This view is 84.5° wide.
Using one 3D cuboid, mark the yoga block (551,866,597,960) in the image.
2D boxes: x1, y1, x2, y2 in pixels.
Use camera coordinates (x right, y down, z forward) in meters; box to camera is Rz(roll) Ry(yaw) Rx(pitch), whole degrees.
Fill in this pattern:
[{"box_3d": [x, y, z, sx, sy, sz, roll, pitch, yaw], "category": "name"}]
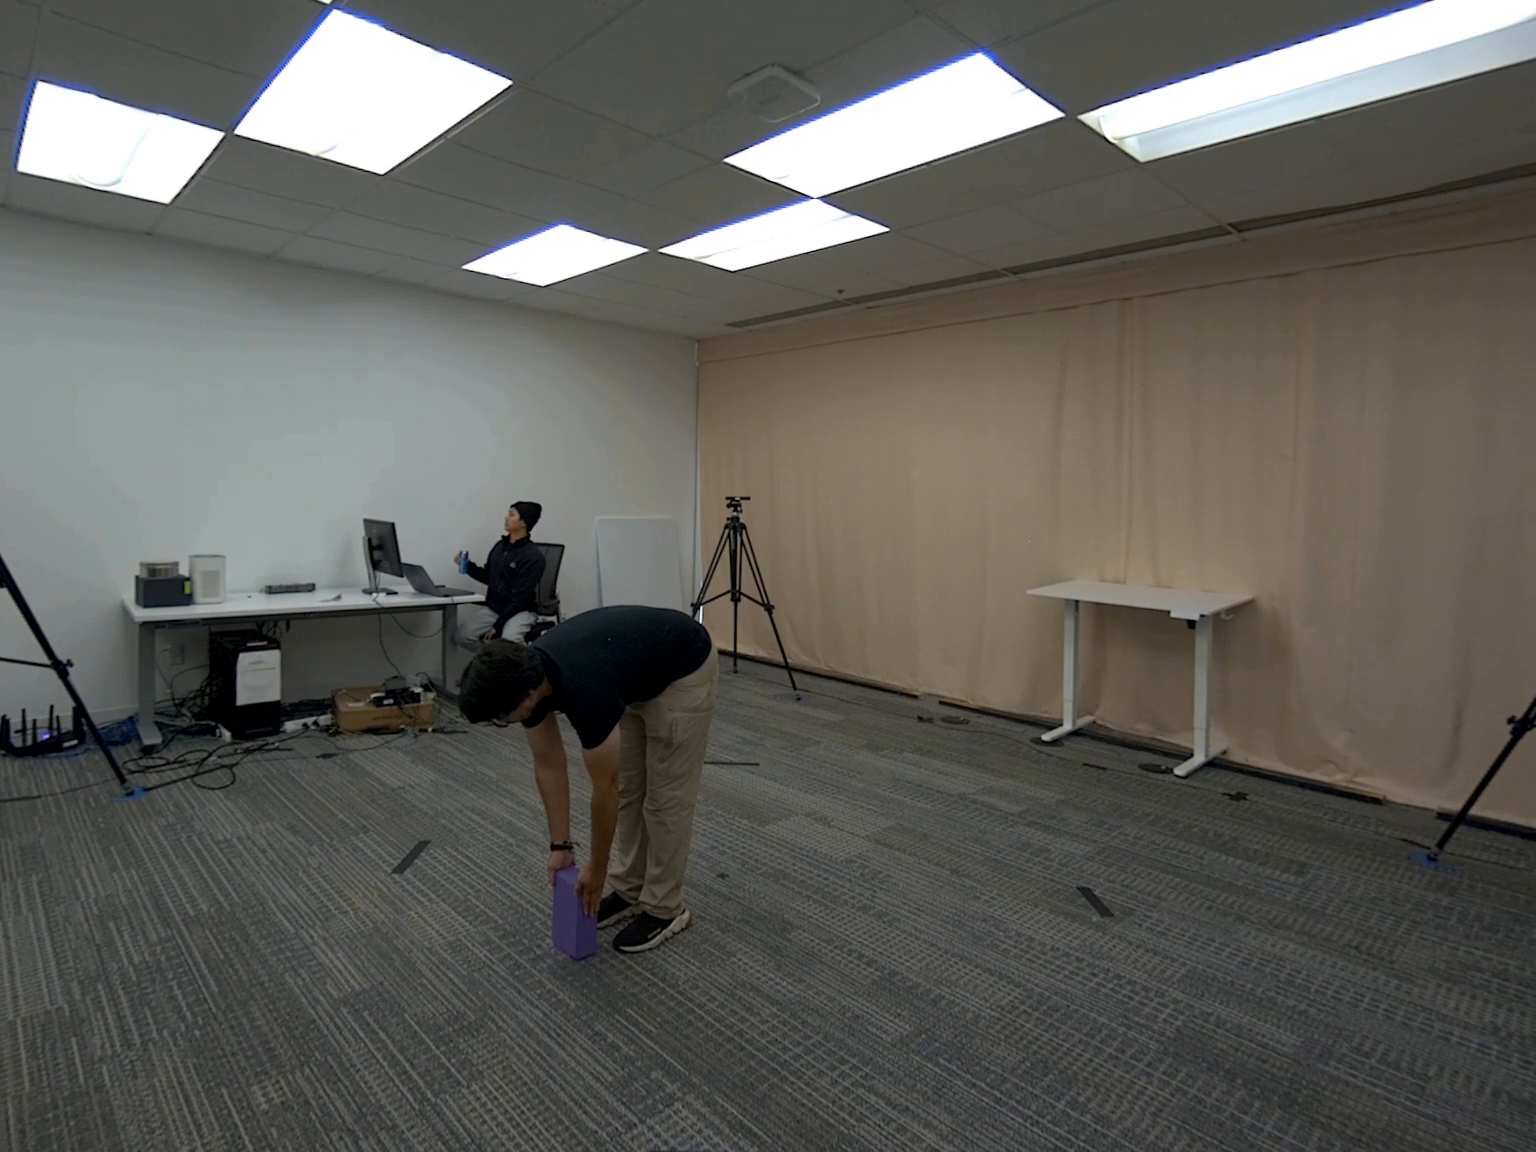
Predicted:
[{"box_3d": [-0.598, 1.036, 2.572, 0.075, 0.228, 0.153, -3, 7, -42], "category": "yoga block"}]
